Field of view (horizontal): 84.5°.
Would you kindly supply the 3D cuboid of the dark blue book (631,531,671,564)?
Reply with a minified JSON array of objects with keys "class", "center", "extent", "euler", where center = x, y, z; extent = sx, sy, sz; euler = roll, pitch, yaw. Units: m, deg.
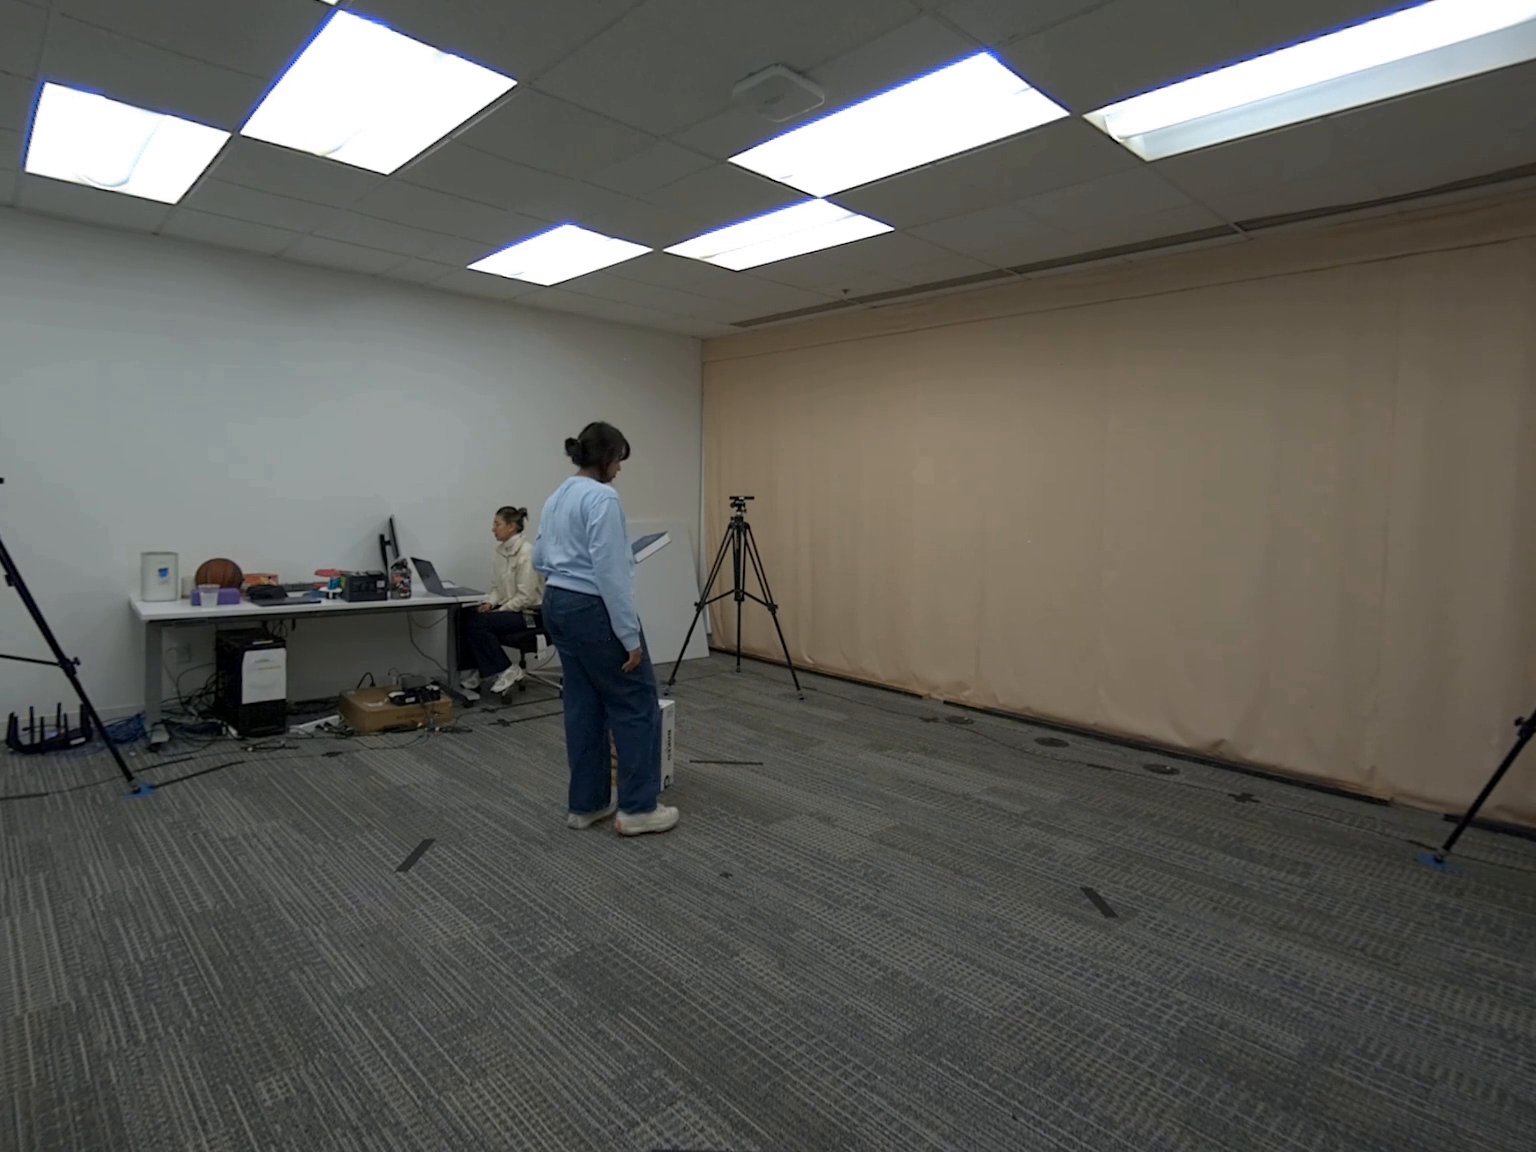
[{"class":"dark blue book","center":[-0.566,-0.120,3.711],"extent":[0.166,0.044,0.244],"euler":[-7,21,37]}]
